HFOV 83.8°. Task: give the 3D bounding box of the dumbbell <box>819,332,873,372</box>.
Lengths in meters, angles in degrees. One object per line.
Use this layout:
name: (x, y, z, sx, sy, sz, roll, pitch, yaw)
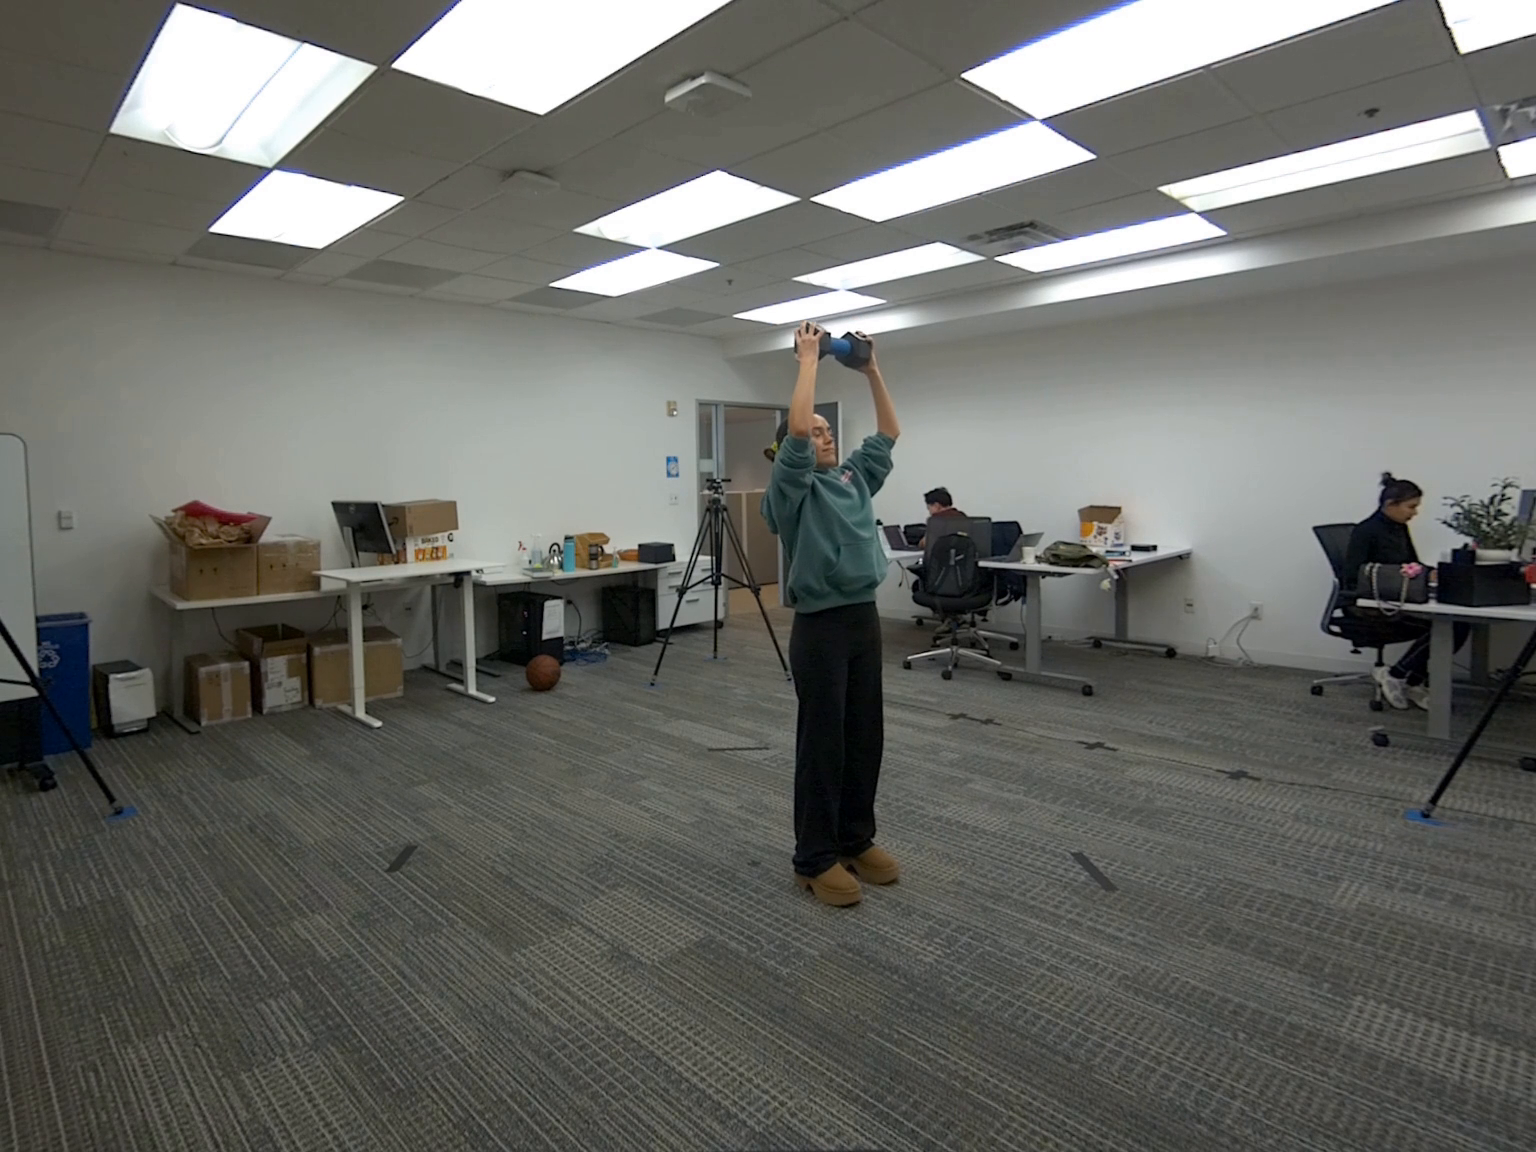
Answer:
dumbbell: (0.216, -0.773, 2.876, 0.286, 0.122, 0.112, -5, 9, -45)
